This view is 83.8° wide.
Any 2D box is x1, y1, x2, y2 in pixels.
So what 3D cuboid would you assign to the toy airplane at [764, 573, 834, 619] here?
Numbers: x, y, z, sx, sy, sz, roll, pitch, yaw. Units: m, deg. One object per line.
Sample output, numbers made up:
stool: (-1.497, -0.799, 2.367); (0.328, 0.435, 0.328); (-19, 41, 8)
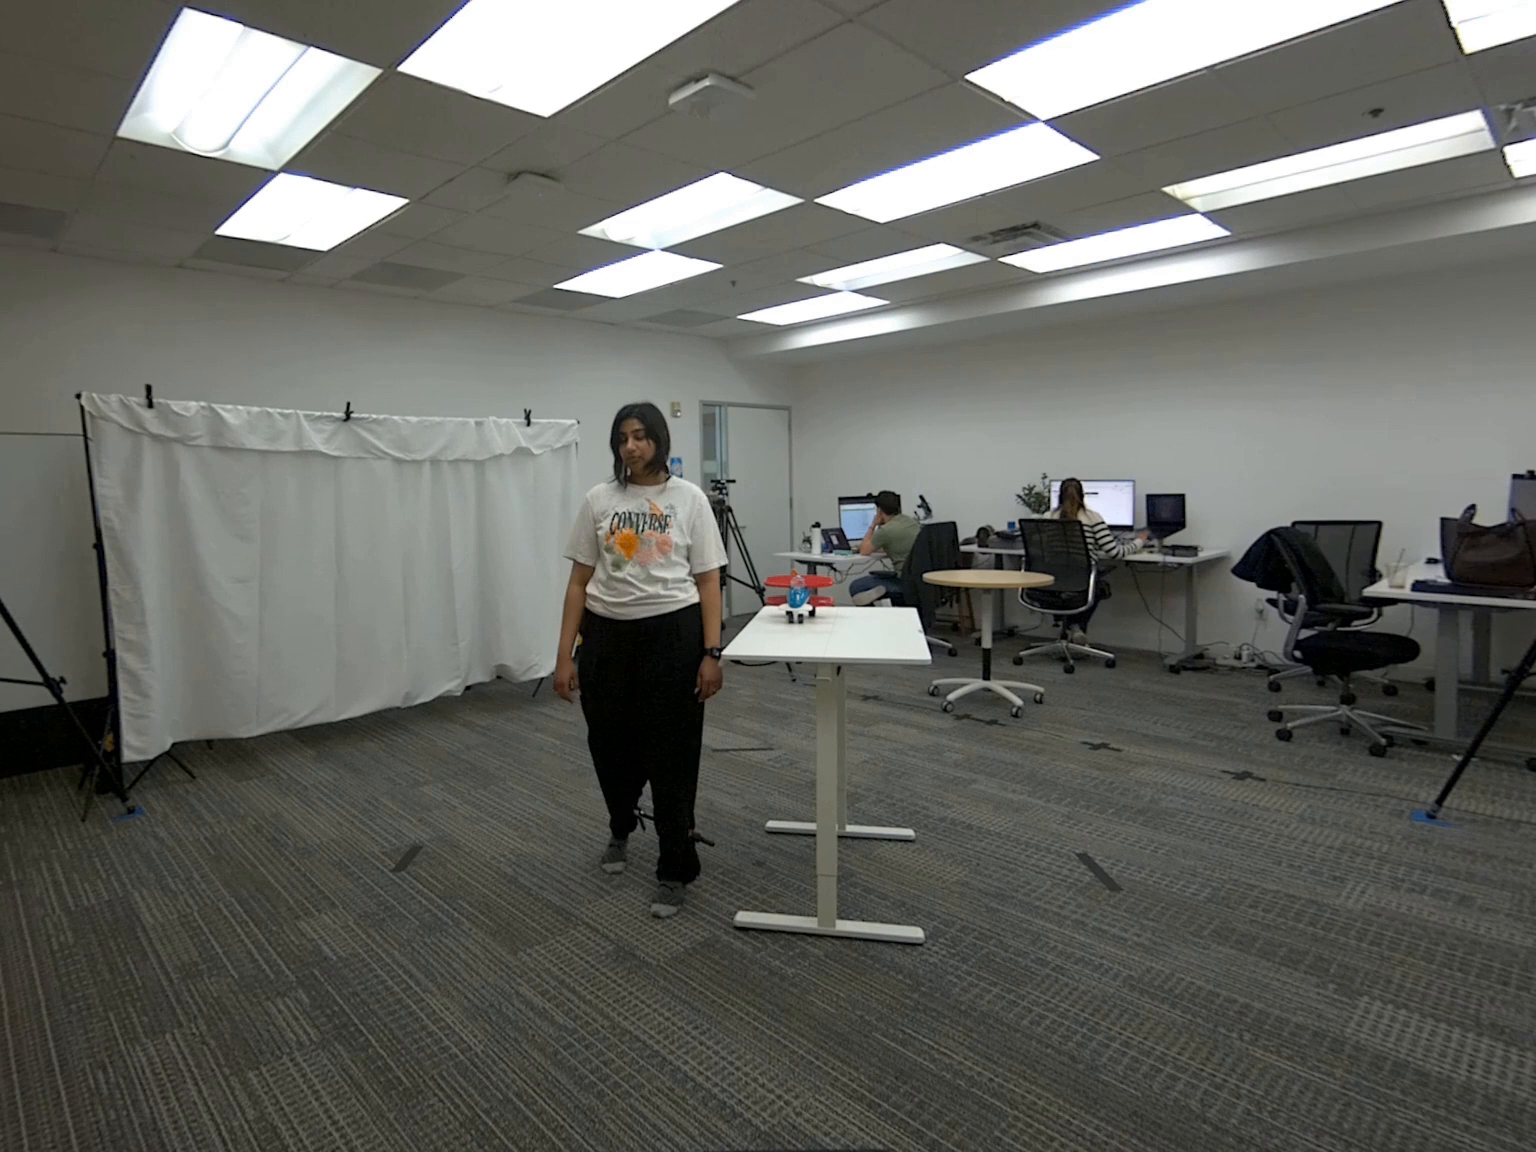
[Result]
toy airplane: (0.138, 0.080, 3.138); (0.247, 0.156, 0.265); (-4, 6, -20)
